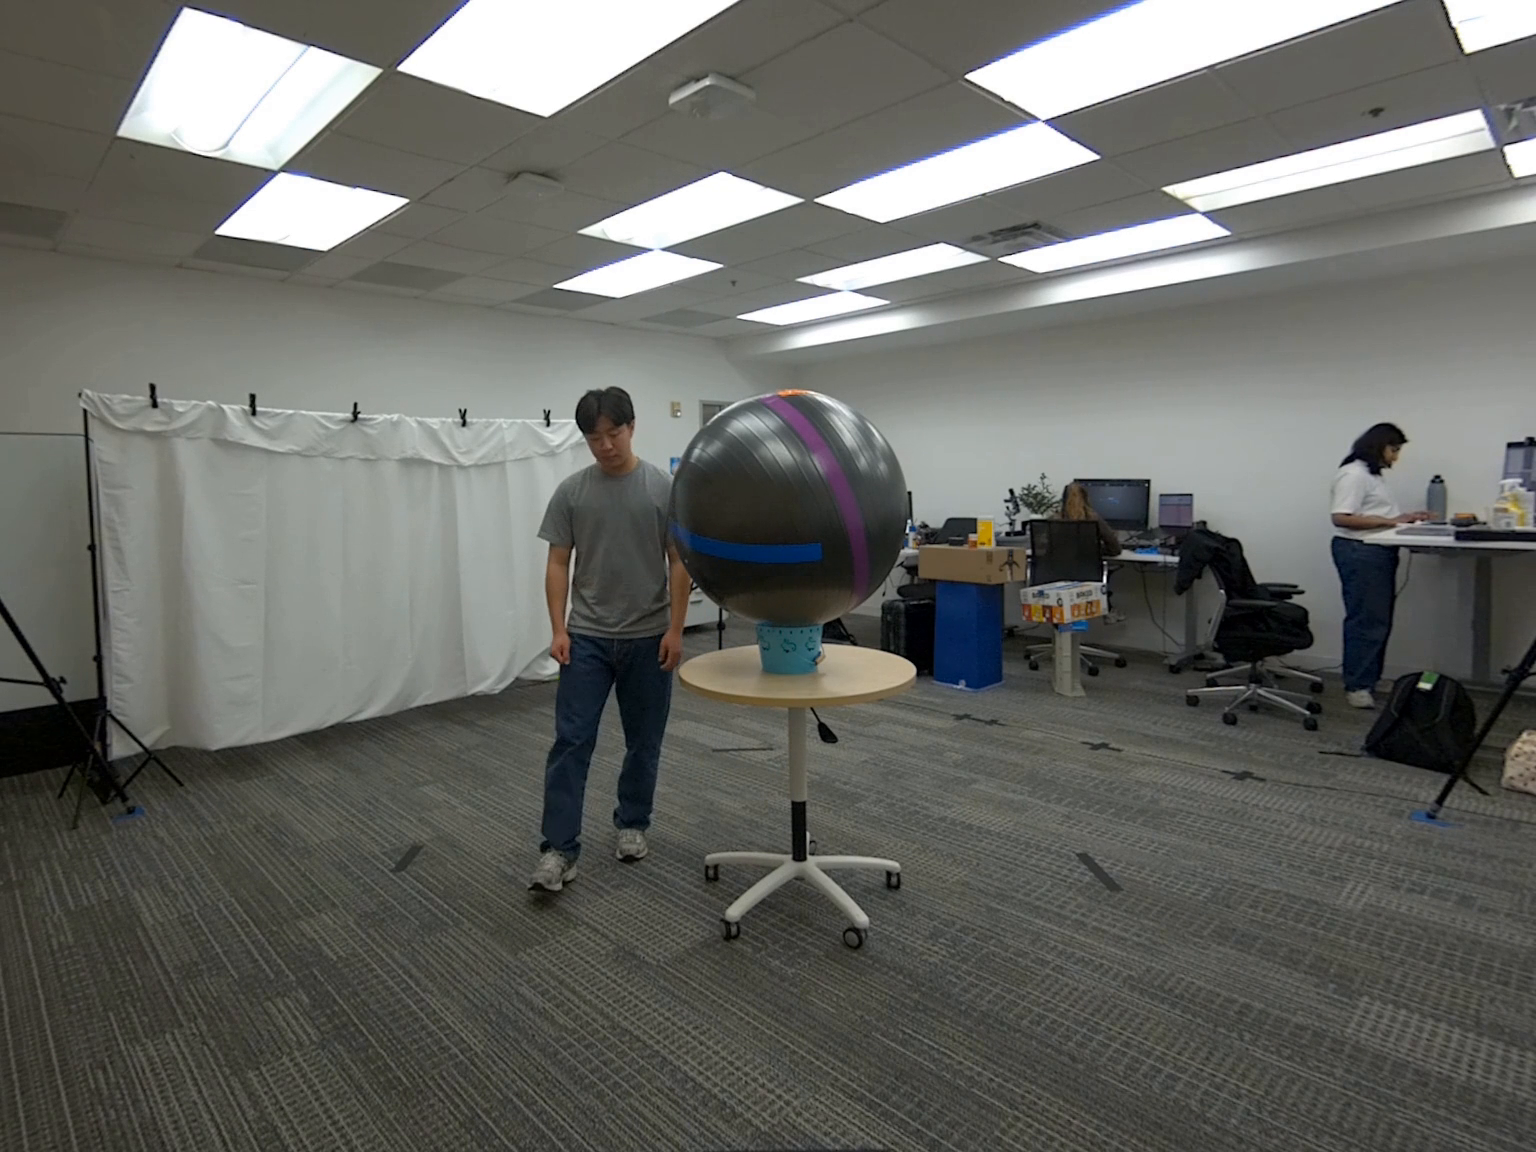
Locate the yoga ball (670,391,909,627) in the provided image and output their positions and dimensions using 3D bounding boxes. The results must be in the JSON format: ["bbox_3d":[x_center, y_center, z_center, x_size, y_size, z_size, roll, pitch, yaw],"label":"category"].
[{"bbox_3d":[0.068,-0.208,2.733,0.757,0.755,0.762,-1,5,-2],"label":"yoga ball"}]
